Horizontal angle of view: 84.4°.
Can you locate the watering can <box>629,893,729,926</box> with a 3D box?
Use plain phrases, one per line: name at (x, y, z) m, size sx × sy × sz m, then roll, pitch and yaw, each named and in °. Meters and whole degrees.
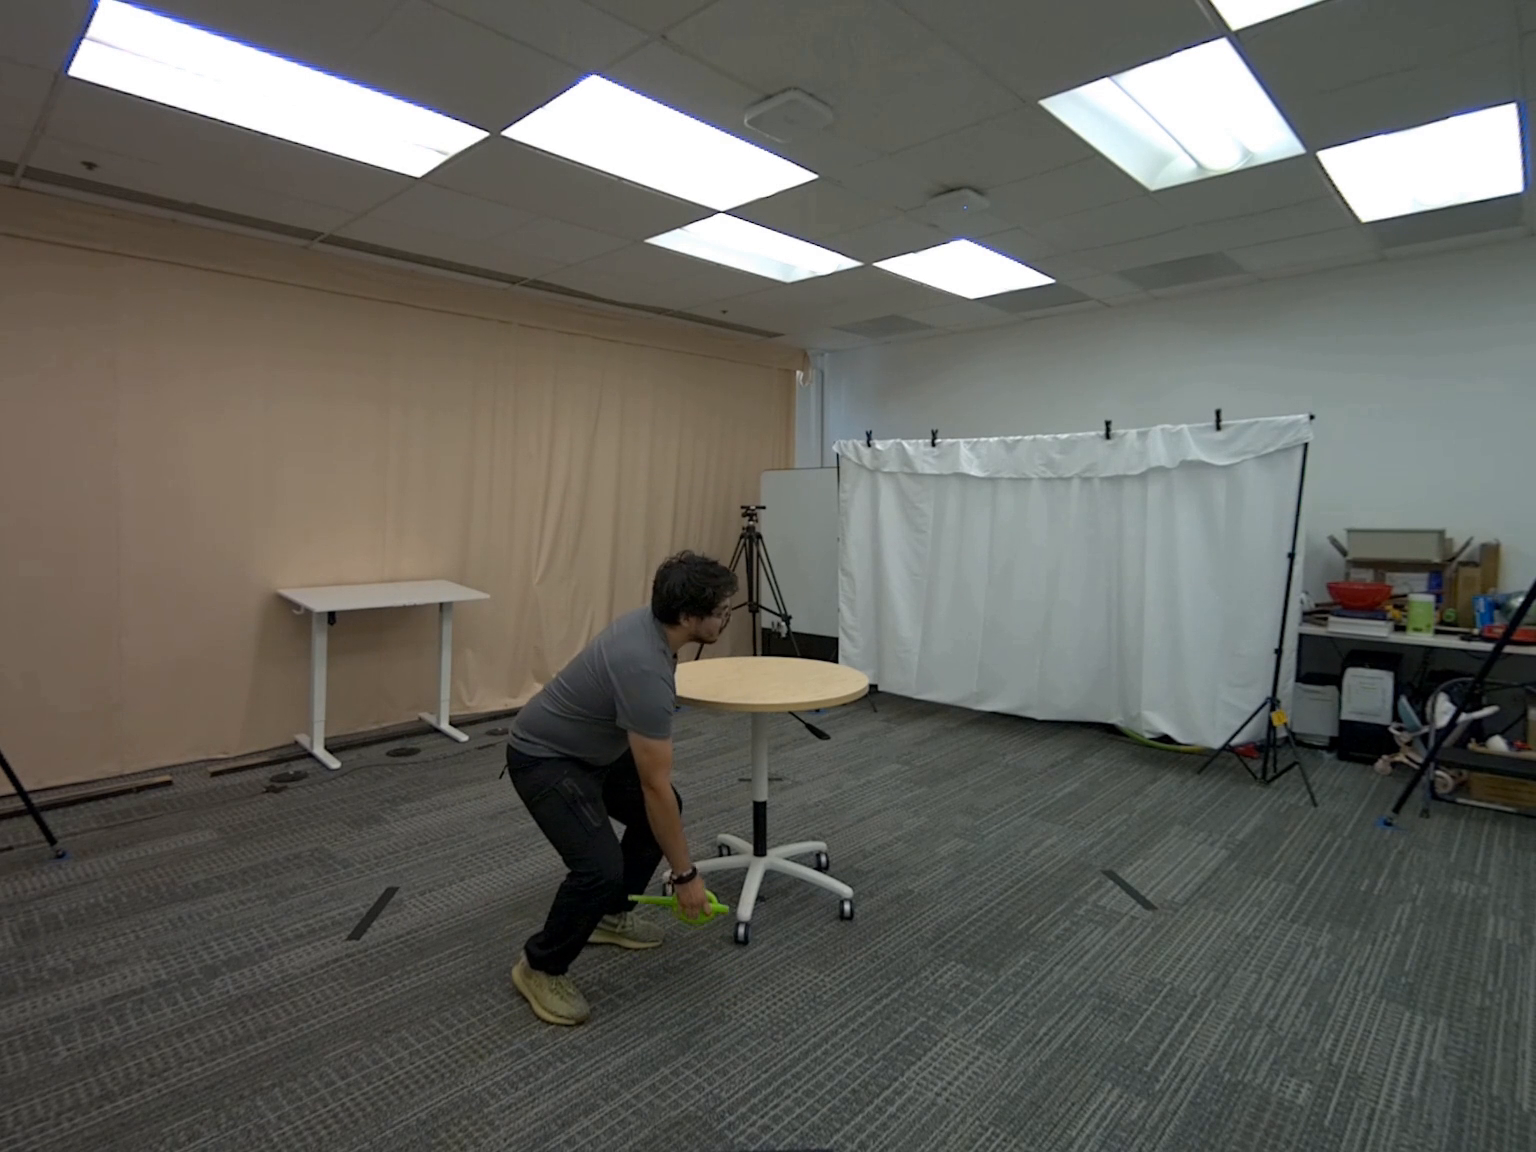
watering can at (-0.247, 0.921, 2.380) m, size 0.279 × 0.098 × 0.175 m, roll 19°, pitch -22°, yaw 3°
